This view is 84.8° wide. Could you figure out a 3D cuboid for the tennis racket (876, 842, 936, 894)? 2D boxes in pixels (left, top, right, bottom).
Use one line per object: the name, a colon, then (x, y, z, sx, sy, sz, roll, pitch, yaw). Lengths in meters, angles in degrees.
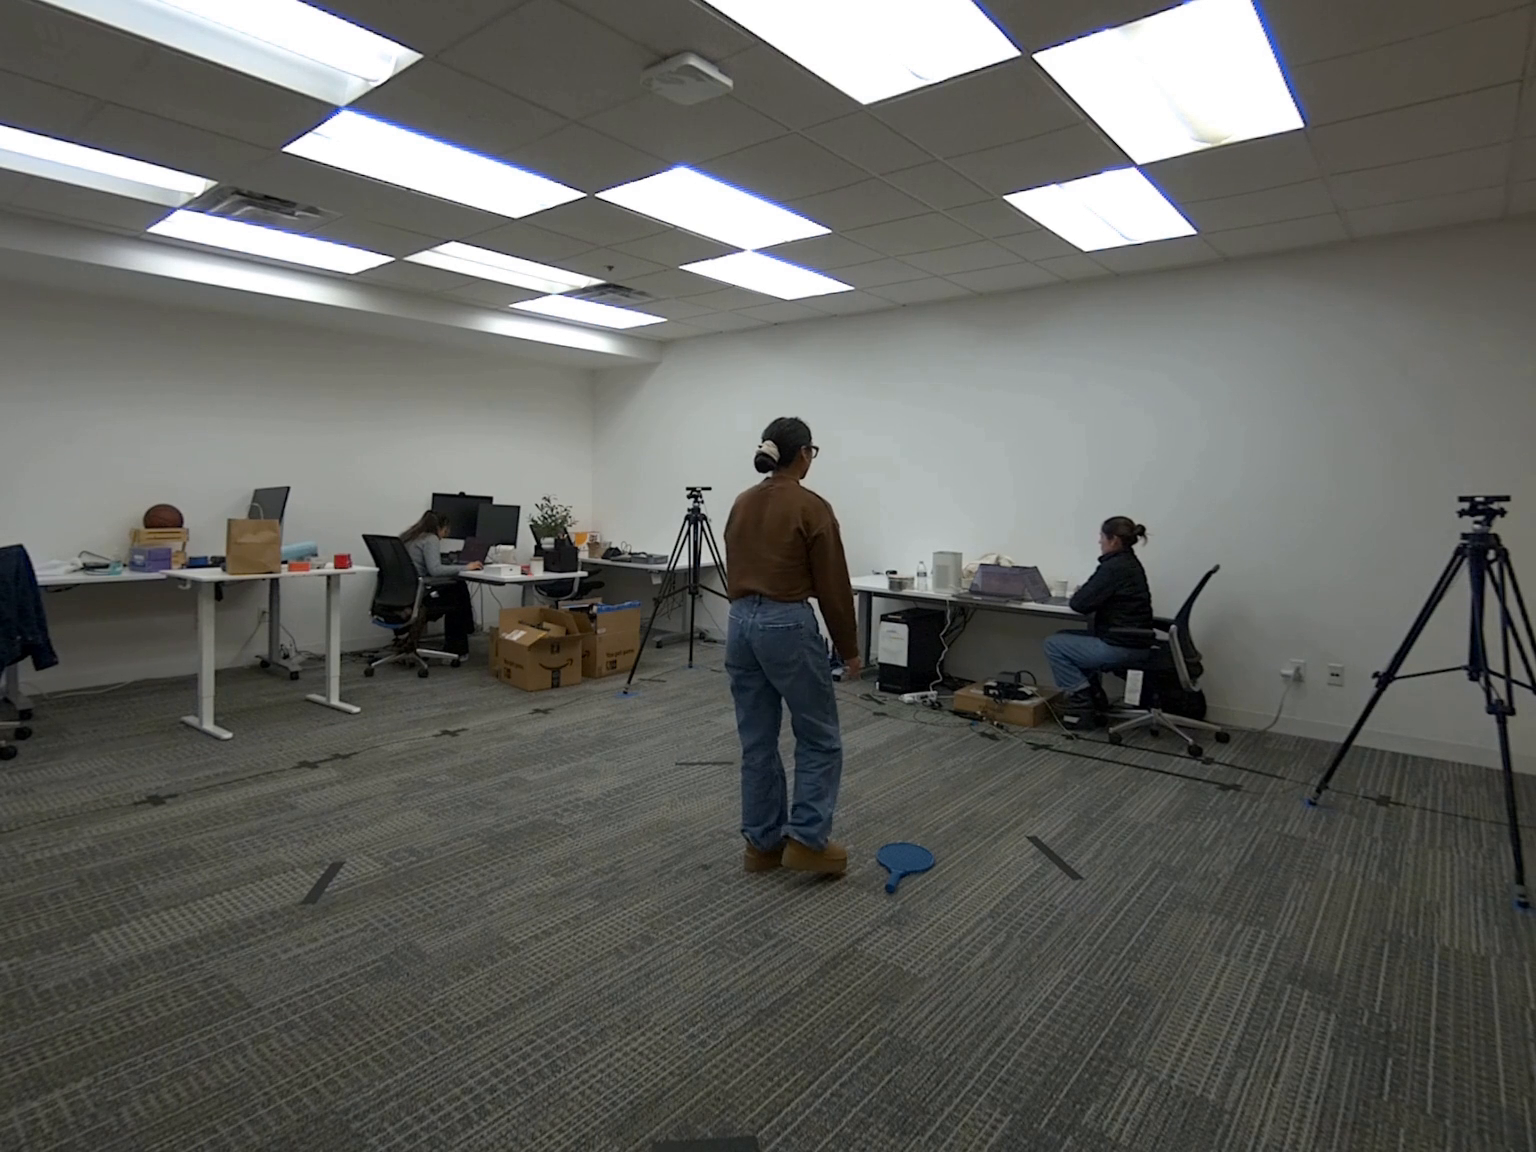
tennis racket: (0.485, 1.067, 3.141, 0.218, 0.031, 0.425, 4, 5, 19)
